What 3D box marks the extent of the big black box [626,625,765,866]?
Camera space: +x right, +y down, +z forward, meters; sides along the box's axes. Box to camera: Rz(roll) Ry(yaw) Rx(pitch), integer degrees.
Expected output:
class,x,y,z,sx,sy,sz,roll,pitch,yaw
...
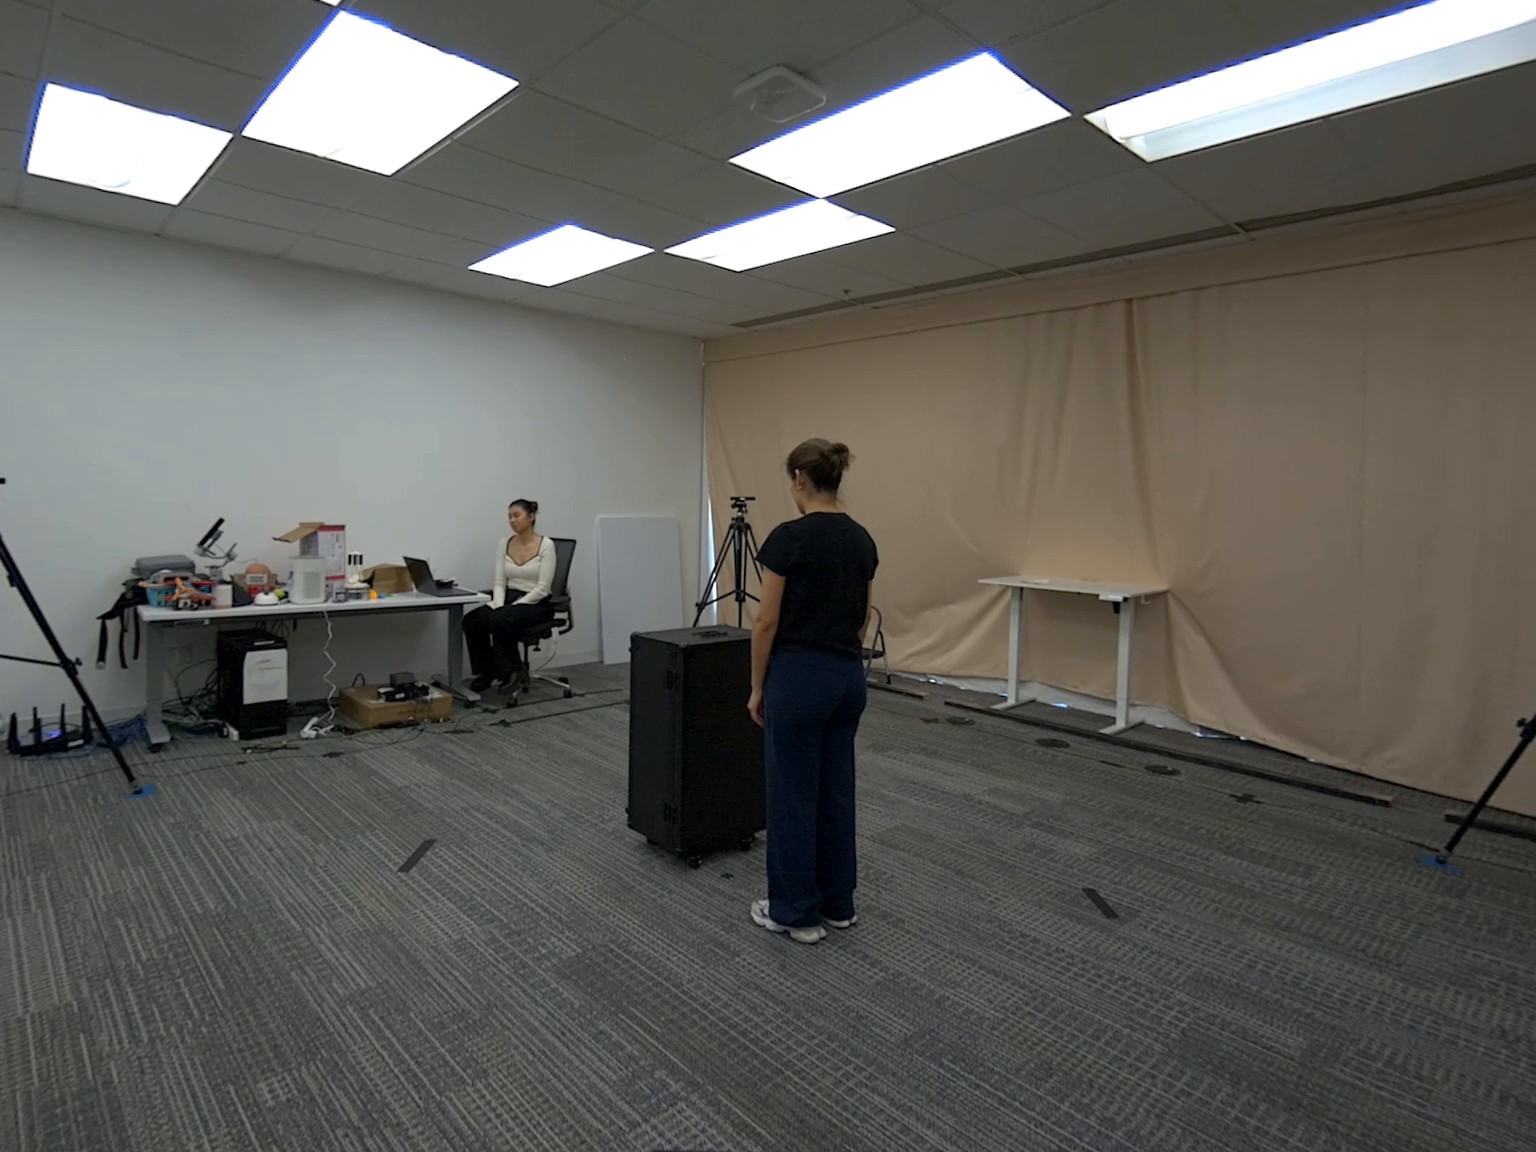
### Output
class,x,y,z,sx,sy,sz,roll,pitch,yaw
big black box,-0.271,0.658,3.352,0.509,0.860,0.406,-2,3,-41
